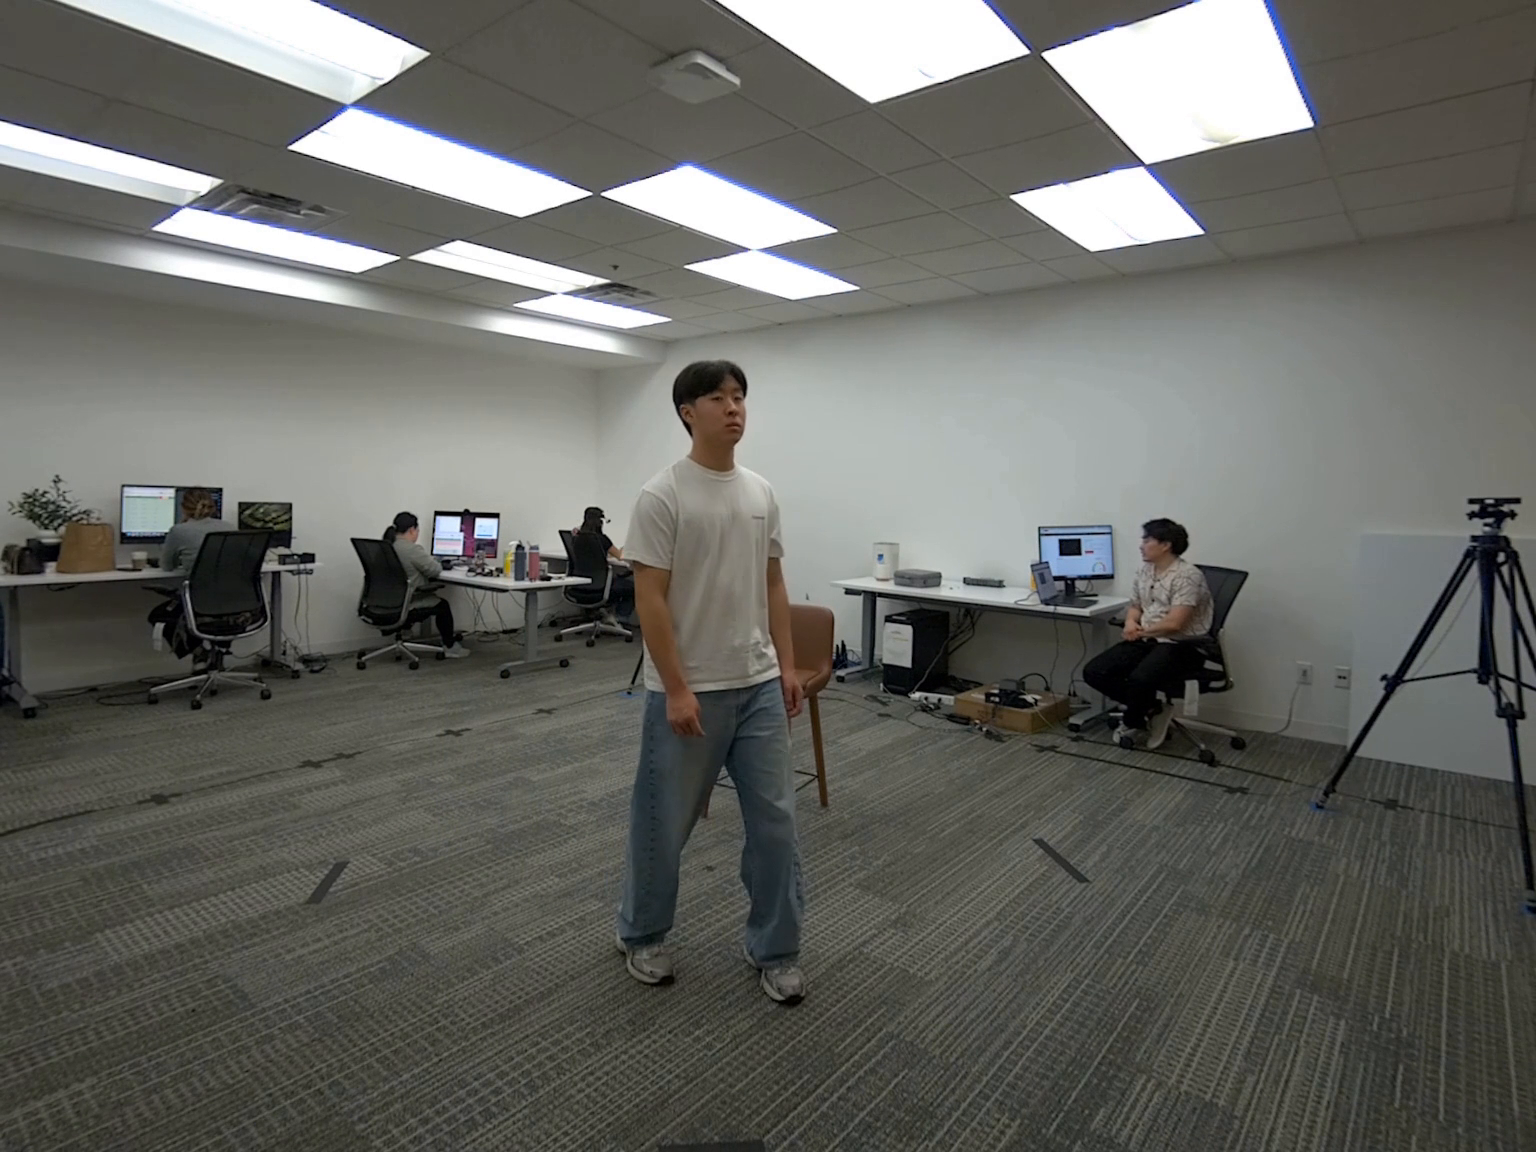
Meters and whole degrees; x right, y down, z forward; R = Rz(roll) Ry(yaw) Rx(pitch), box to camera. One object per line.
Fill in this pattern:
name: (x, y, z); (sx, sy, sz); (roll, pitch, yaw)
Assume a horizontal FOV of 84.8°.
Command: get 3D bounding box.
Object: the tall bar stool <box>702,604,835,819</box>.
tall bar stool: (0.001, 0.579, 3.655); (0.470, 0.889, 0.454); (4, 2, 32)
